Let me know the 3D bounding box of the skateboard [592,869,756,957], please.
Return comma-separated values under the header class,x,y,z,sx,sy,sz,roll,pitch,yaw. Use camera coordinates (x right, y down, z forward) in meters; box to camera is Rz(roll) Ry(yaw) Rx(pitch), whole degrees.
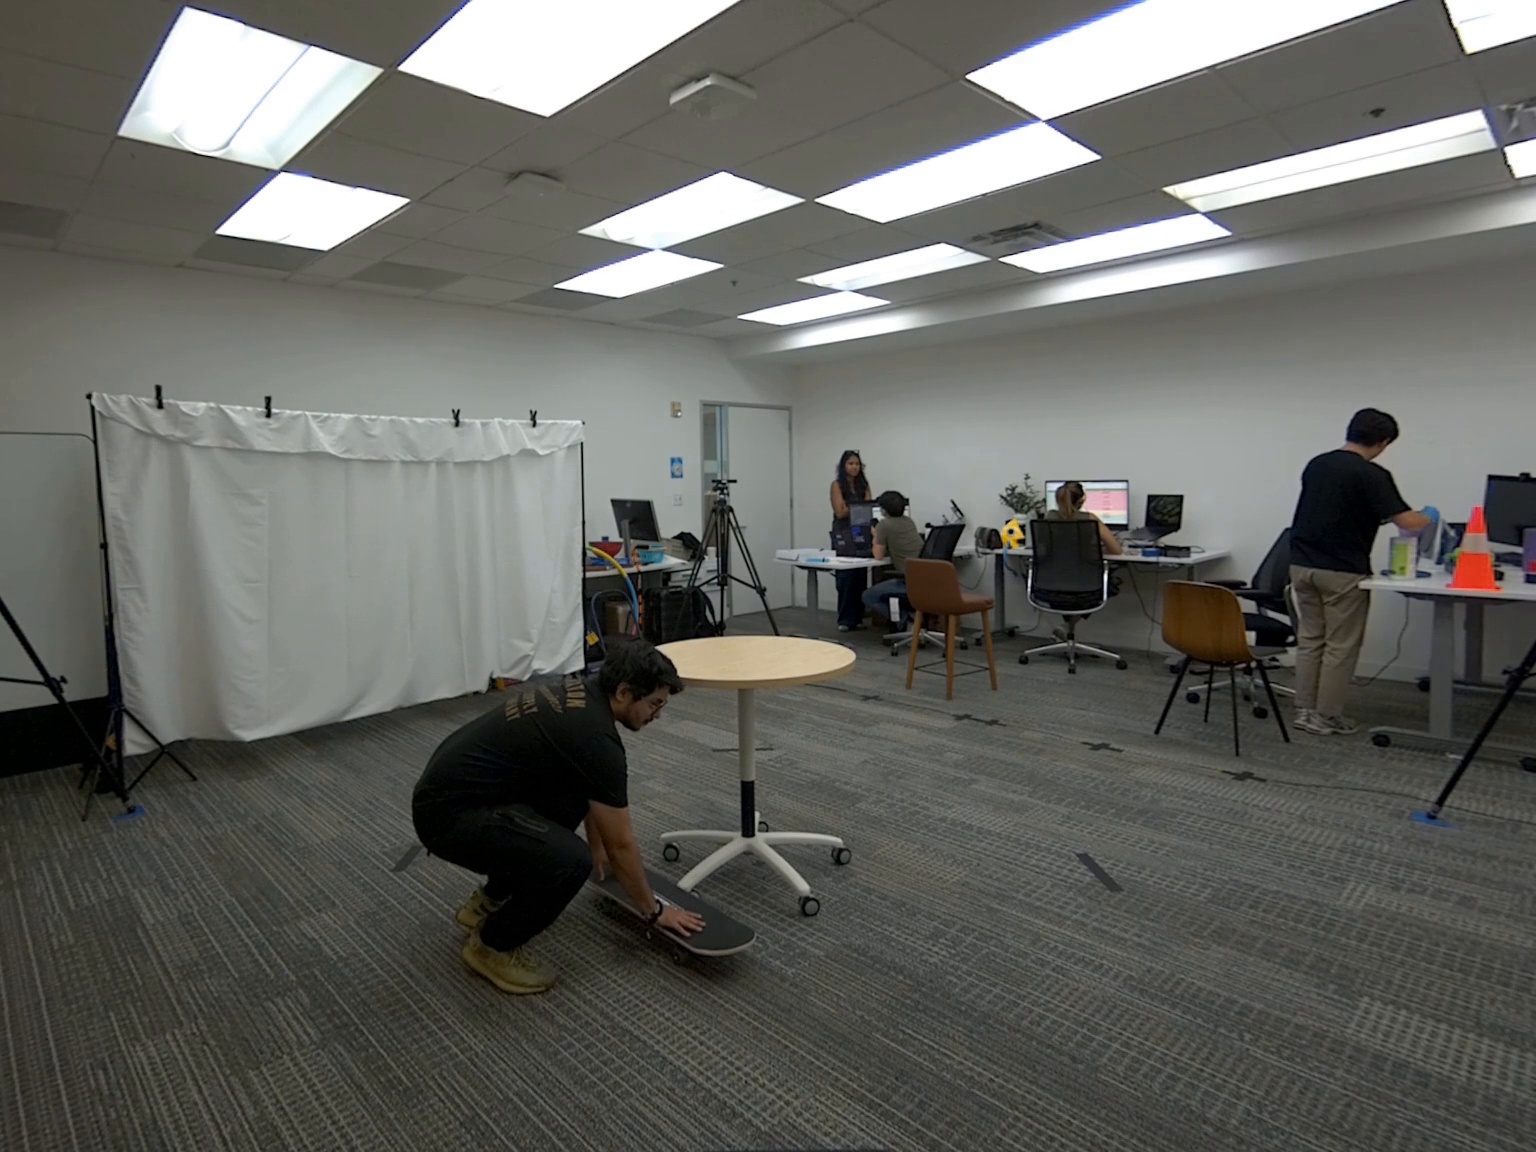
class,x,y,z,sx,sy,sz,roll,pitch,yaw
skateboard,-0.324,1.044,2.677,0.188,0.110,0.810,-8,9,-41
